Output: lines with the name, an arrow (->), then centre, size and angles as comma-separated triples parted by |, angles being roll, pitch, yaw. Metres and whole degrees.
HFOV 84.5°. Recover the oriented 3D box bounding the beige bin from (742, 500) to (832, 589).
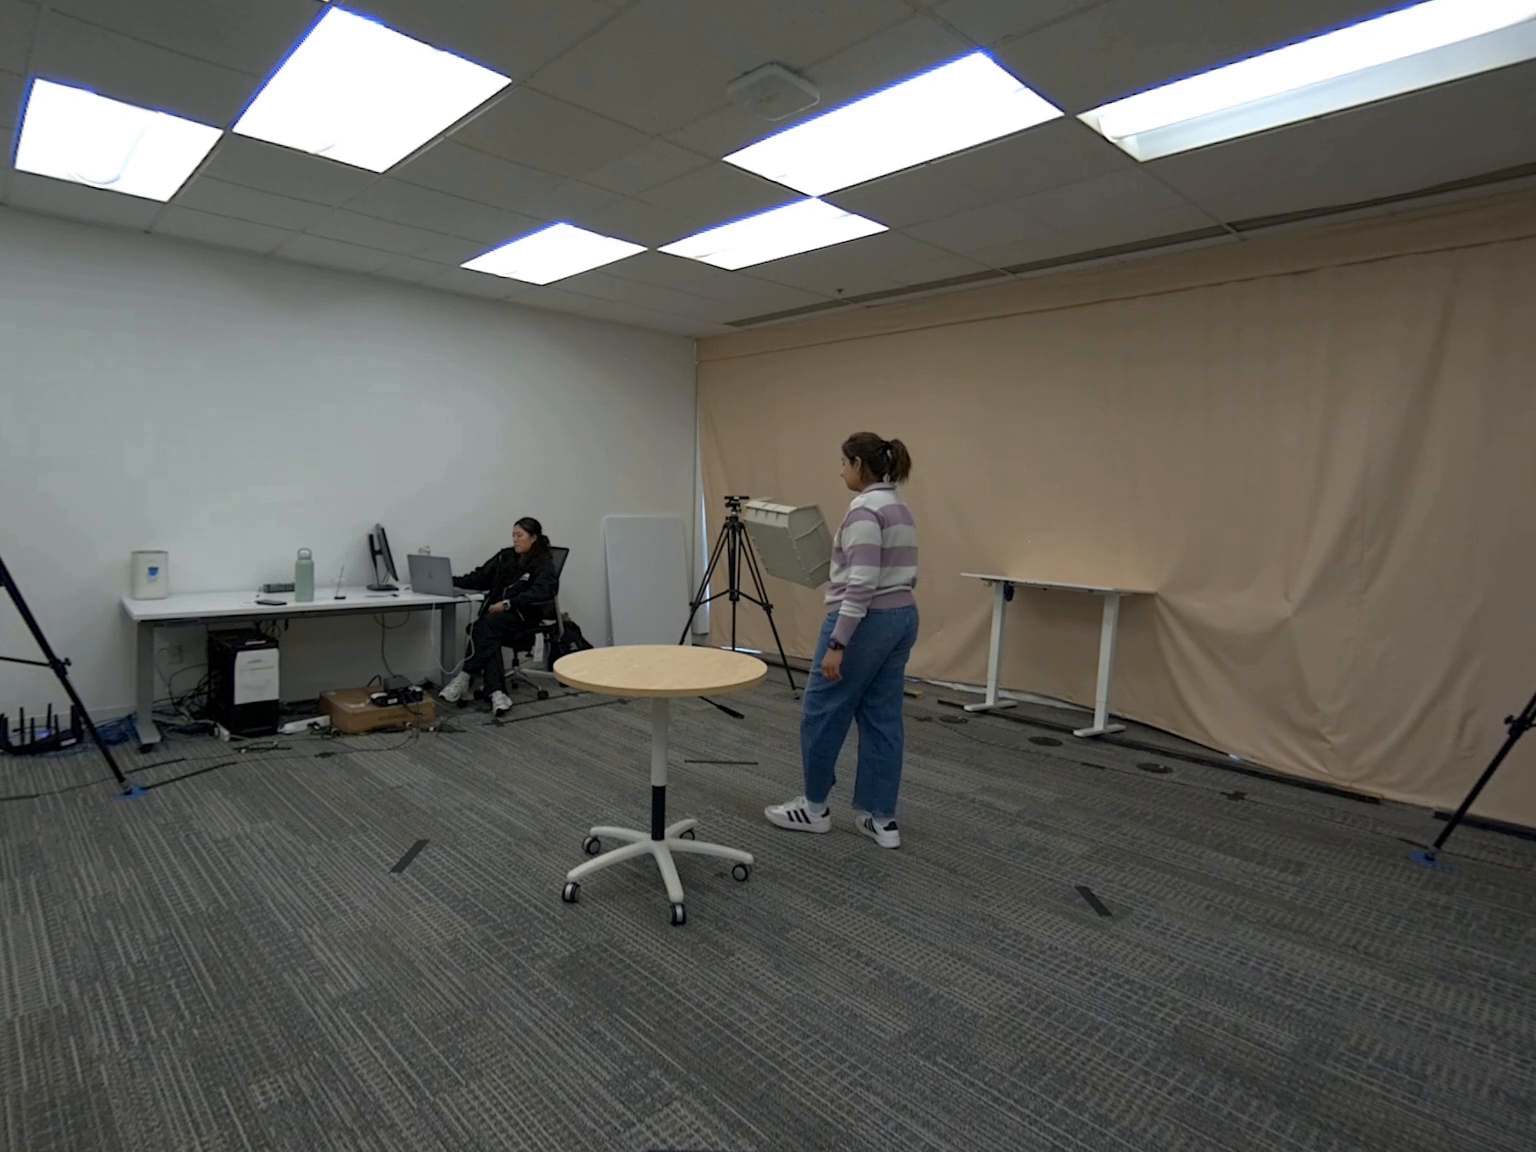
beige bin -> 0.086, -0.158, 3.764 | 0.188, 0.371, 0.432 | -30, 21, -21
